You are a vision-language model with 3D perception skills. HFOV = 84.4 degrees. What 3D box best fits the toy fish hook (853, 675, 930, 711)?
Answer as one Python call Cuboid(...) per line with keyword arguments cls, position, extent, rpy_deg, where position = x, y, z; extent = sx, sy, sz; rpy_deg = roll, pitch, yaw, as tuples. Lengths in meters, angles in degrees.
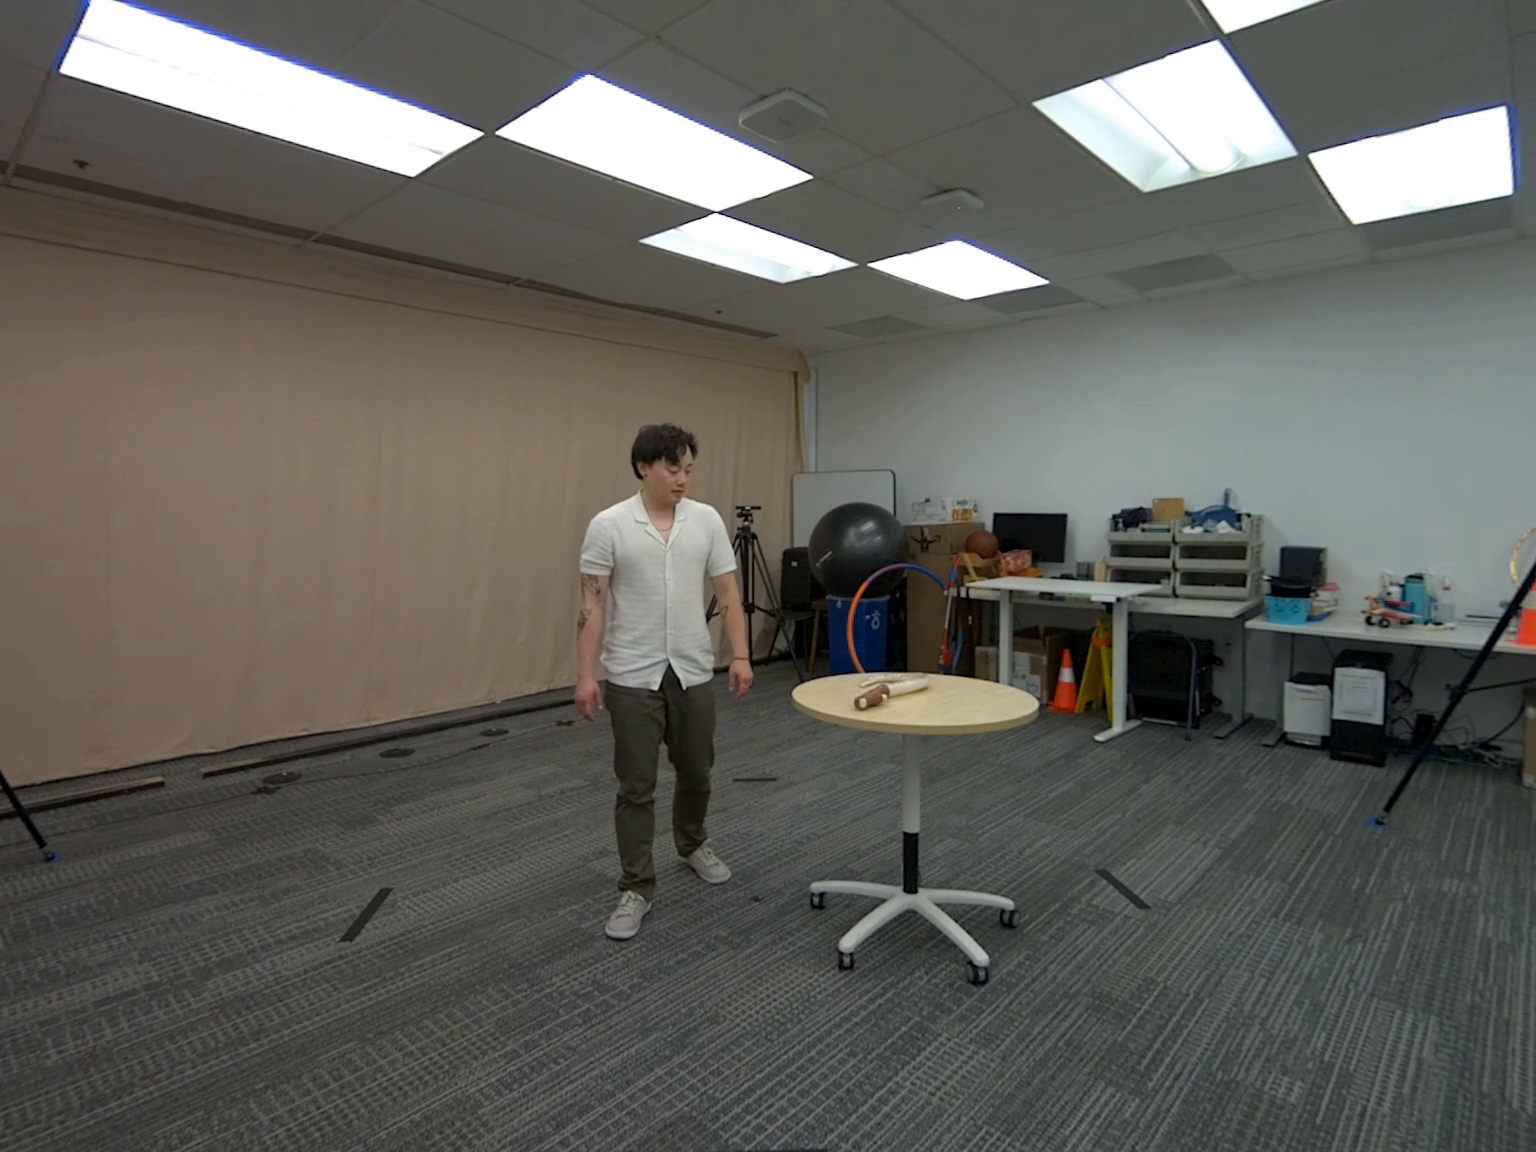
Cuboid(cls="toy fish hook", position=(0.362, 0.373, 2.716), extent=(0.231, 0.048, 0.492), rpy_deg=(-8, -1, 33))
